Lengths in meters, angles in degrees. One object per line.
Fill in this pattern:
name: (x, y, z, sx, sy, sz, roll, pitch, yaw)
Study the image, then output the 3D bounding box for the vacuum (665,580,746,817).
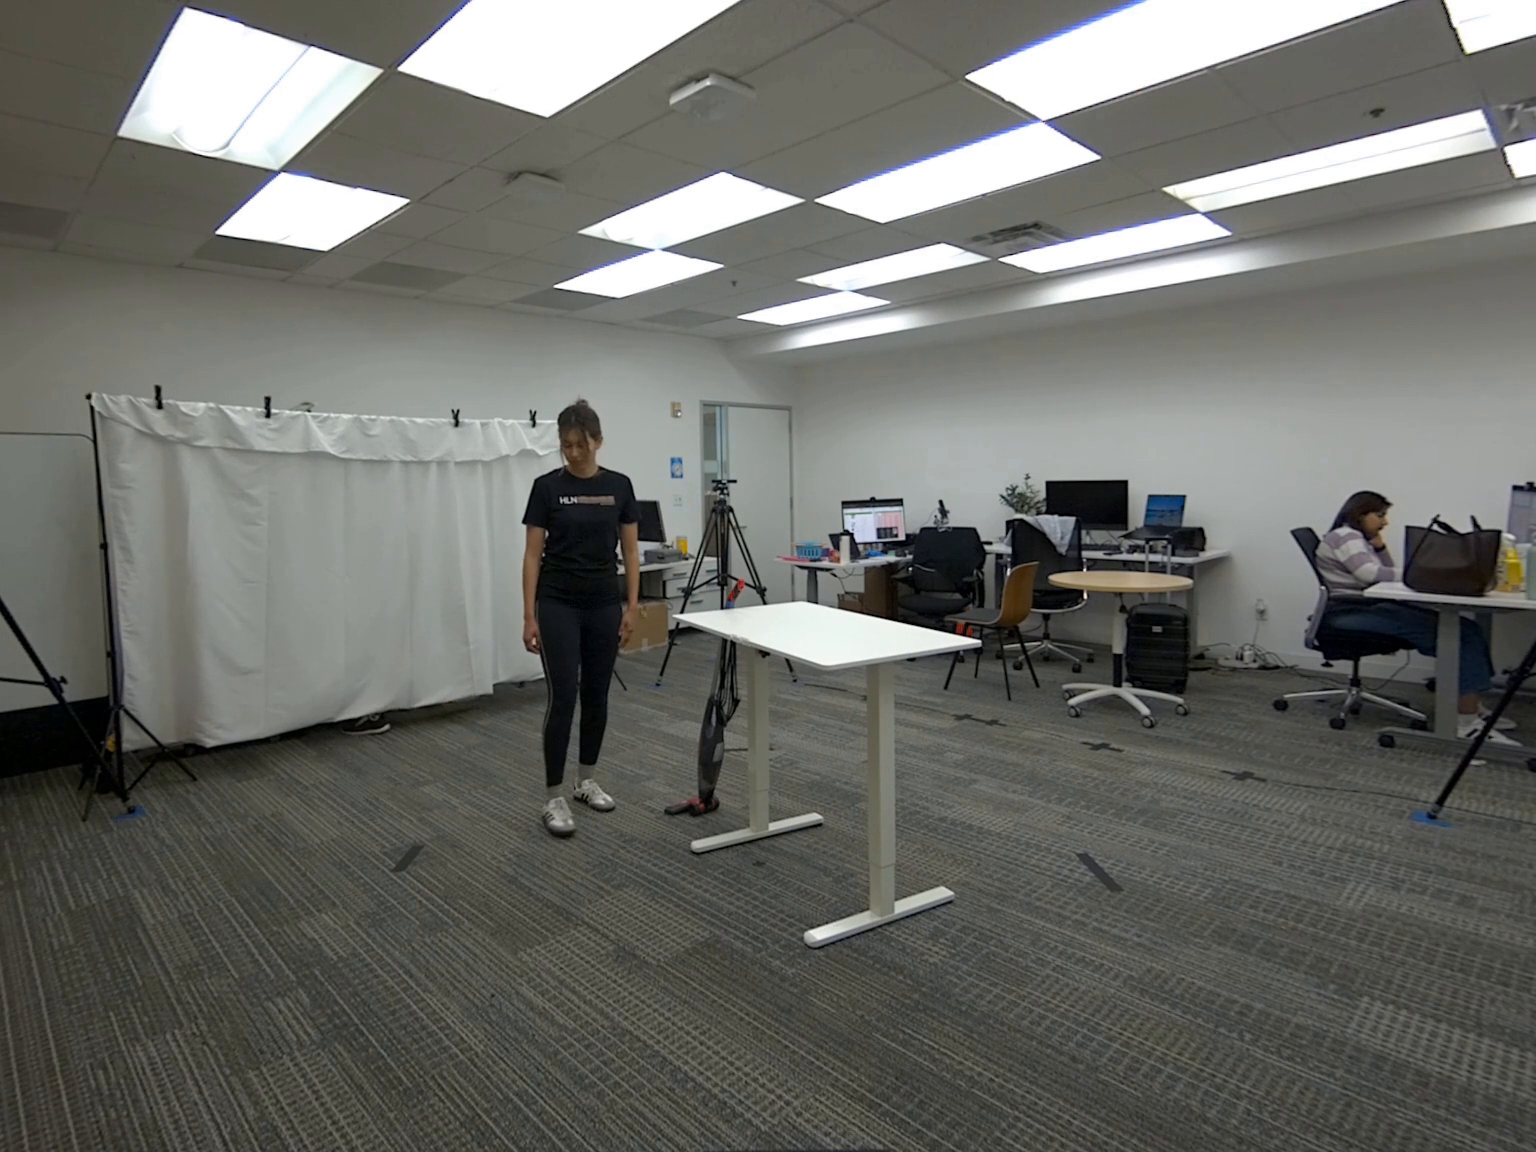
vacuum: (-0.208, 0.515, 3.488, 0.149, 1.037, 0.246, 26, 22, 36)
